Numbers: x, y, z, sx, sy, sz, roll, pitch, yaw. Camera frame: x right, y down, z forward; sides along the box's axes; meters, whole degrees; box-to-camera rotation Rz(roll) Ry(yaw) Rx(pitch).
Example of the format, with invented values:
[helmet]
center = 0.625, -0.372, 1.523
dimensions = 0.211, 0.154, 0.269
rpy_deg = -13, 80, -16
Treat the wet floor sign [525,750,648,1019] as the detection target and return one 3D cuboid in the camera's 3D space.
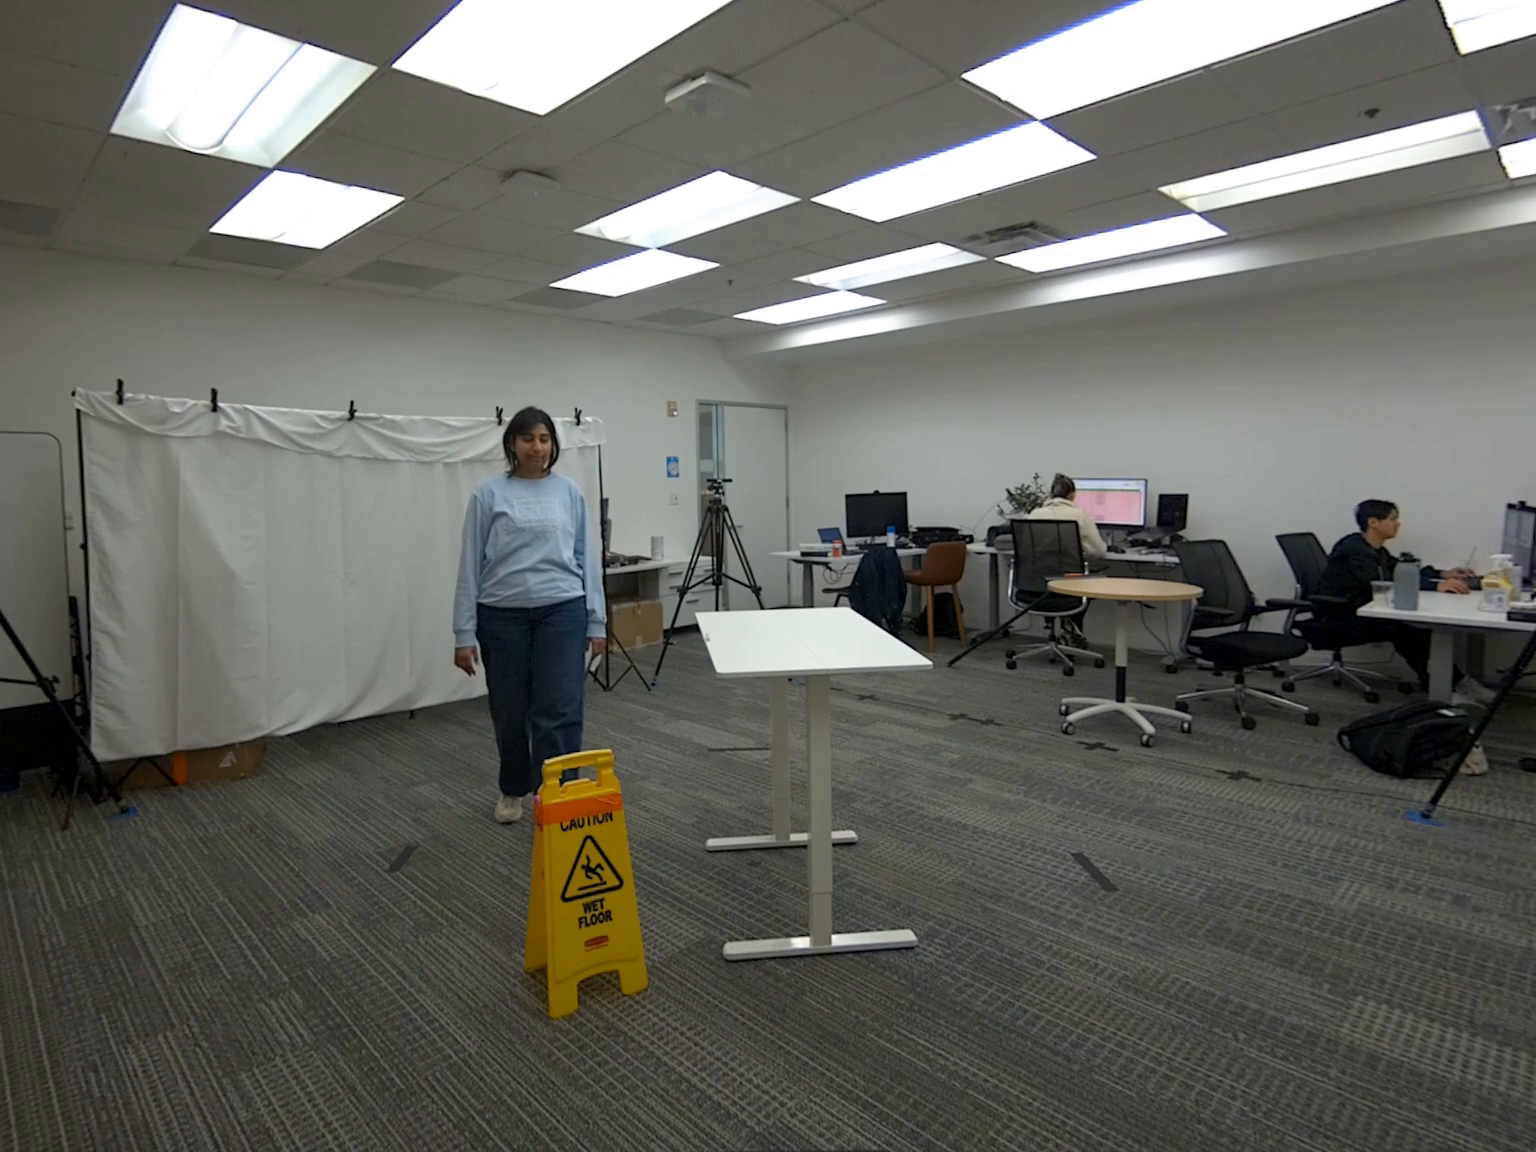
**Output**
[wet floor sign]
center = -0.517, 0.817, 2.383
dimensions = 0.276, 0.643, 0.297
rpy_deg = -4, 5, -29
